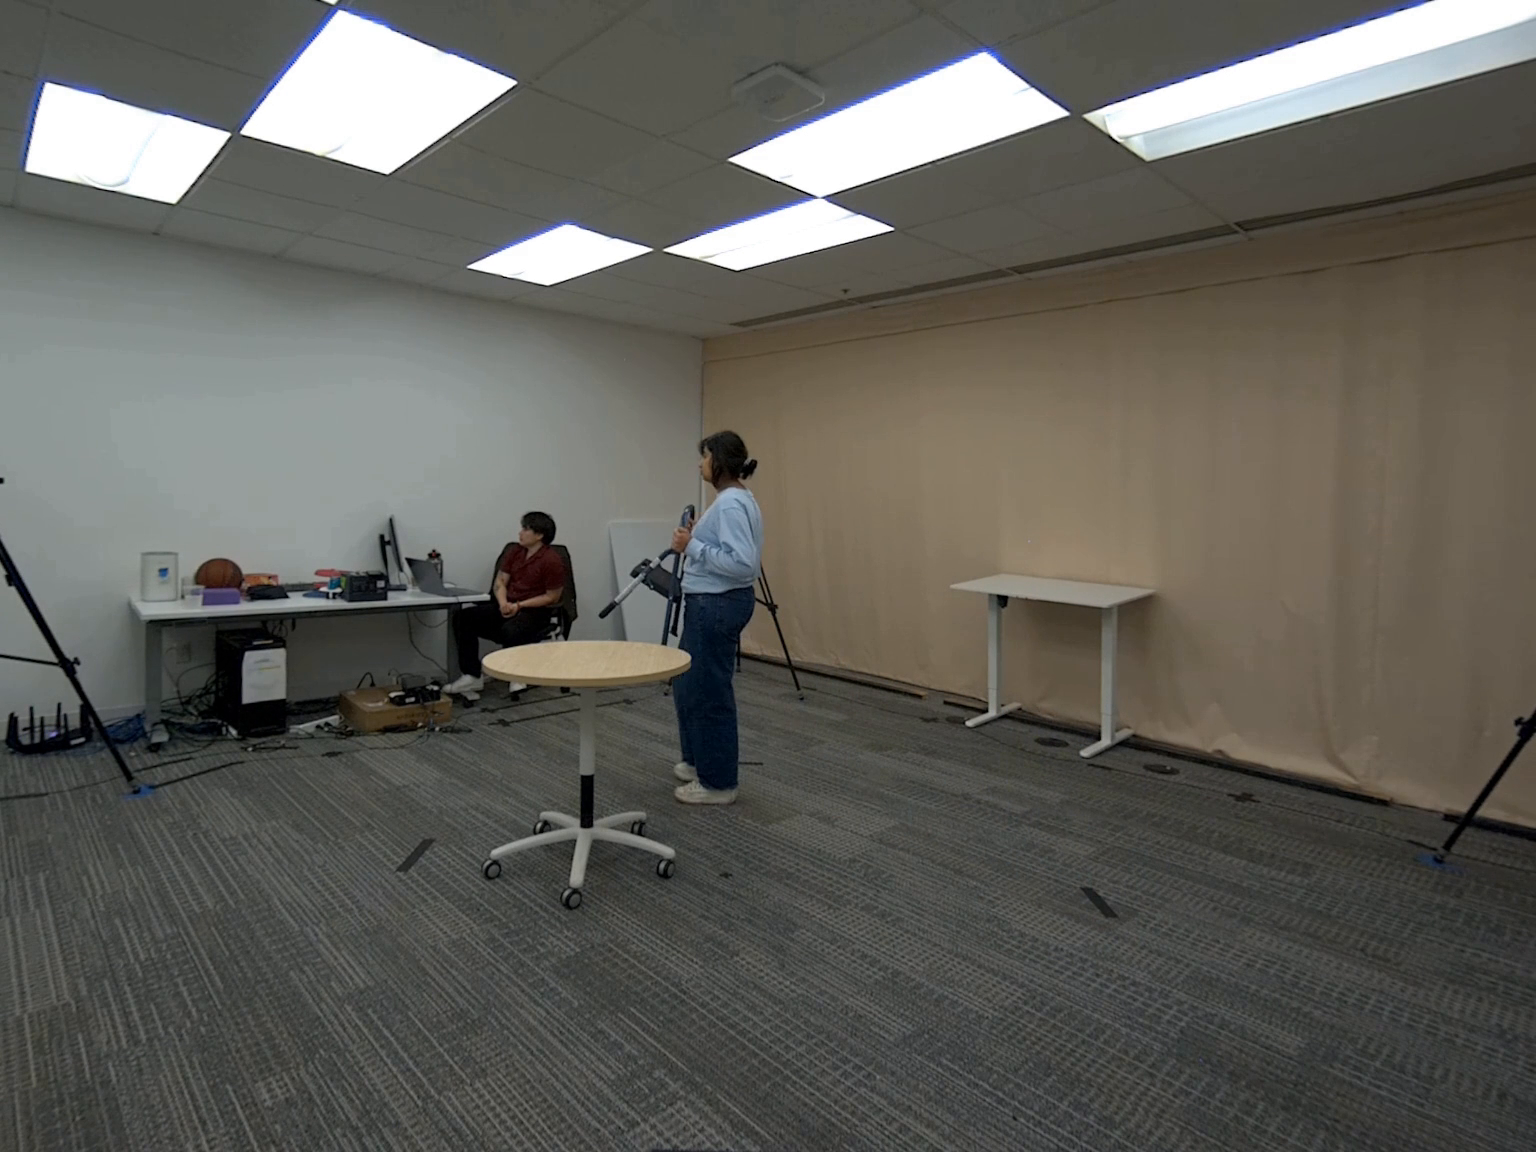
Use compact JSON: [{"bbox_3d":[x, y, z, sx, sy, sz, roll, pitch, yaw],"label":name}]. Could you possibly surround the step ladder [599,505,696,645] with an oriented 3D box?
[{"bbox_3d":[-0.449,-0.017,3.849,0.349,0.605,0.432,31,8,-3],"label":"step ladder"}]
